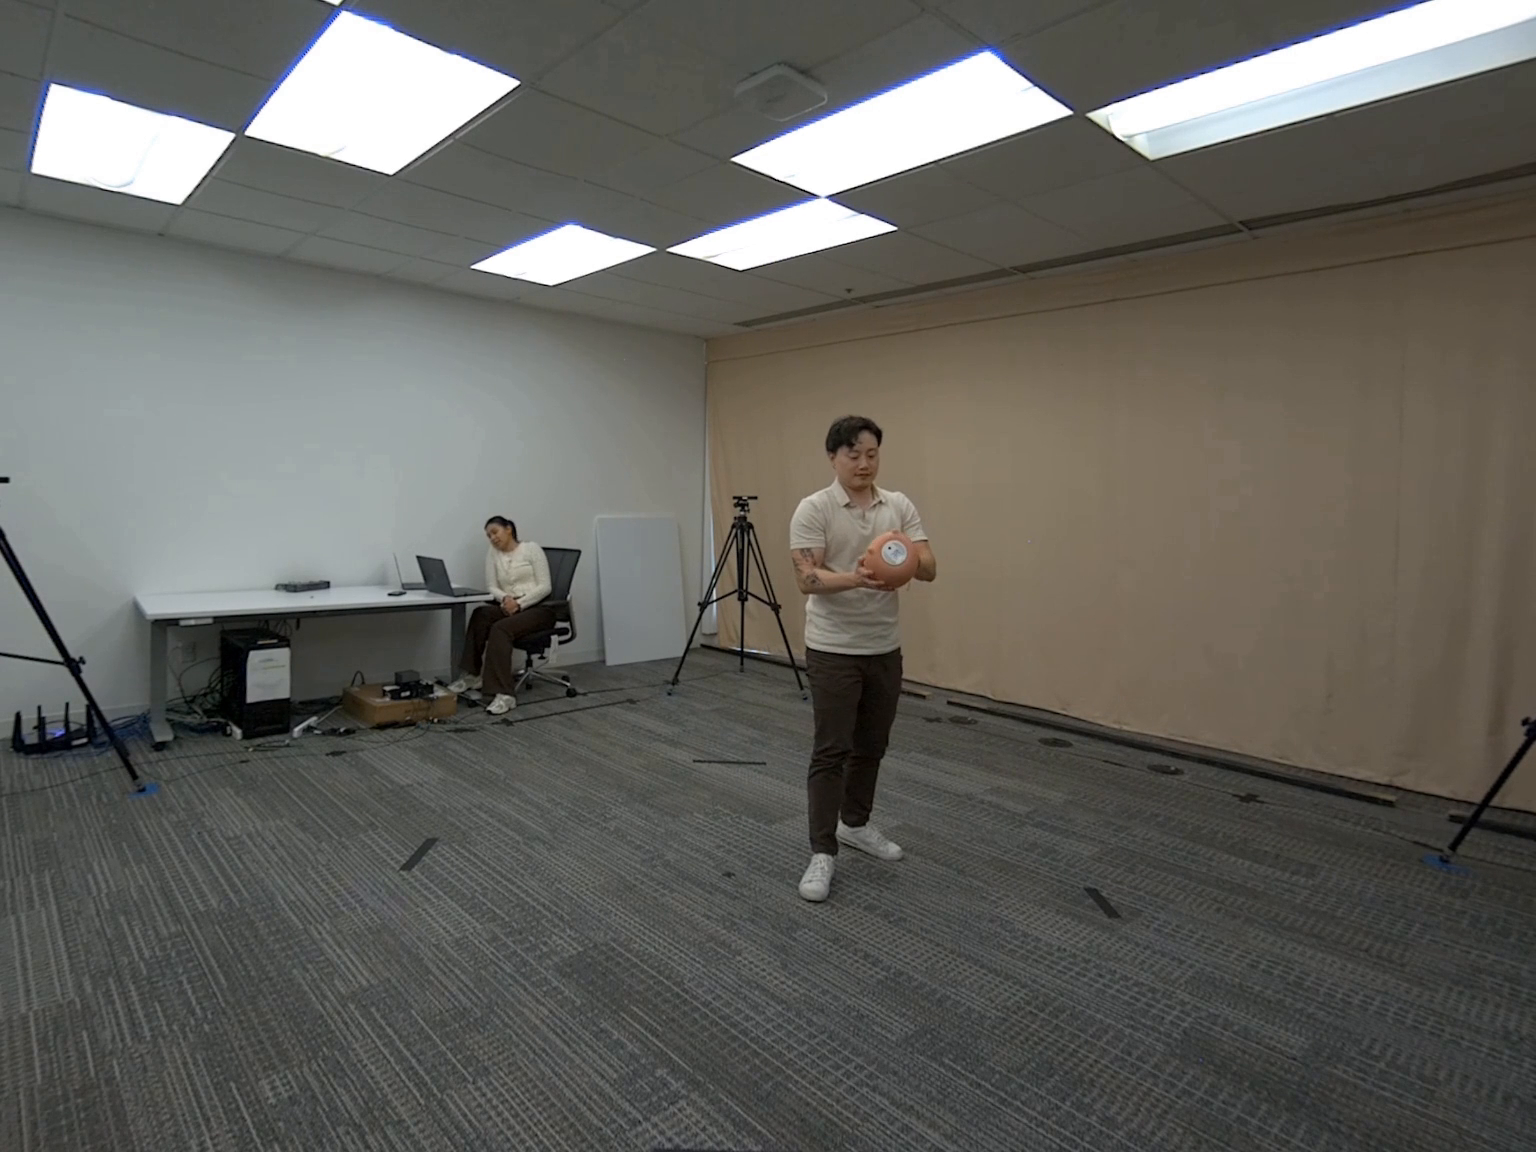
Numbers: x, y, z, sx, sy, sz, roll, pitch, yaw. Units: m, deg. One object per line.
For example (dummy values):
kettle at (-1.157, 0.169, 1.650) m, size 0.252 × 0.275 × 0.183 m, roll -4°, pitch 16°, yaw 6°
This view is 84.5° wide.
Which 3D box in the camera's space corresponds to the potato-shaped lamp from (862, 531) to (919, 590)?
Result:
potato-shaped lamp at (0.381, -0.049, 2.717) m, size 0.164 × 0.173 × 0.196 m, roll -39°, pitch -10°, yaw -7°
